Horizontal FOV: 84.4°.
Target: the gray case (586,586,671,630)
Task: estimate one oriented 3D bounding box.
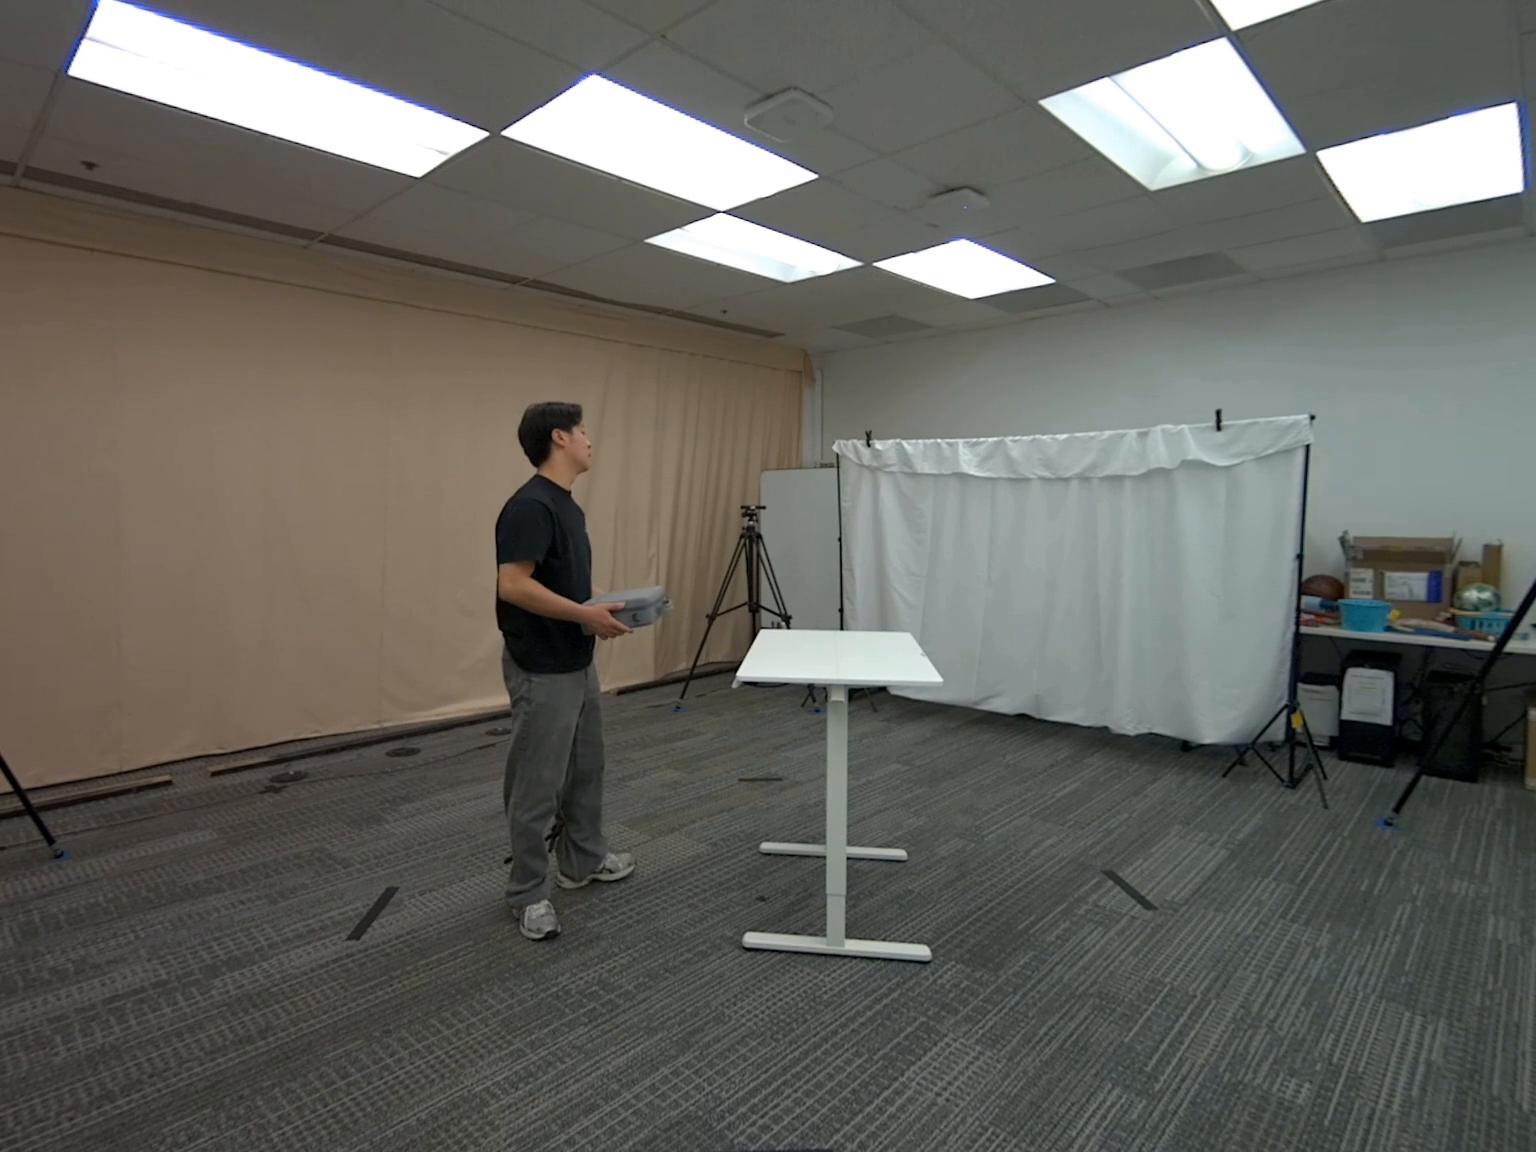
[{"bbox_3d":[-0.473,0.111,2.833,0.291,0.102,0.261,-6,6,12],"label":"gray case"}]
